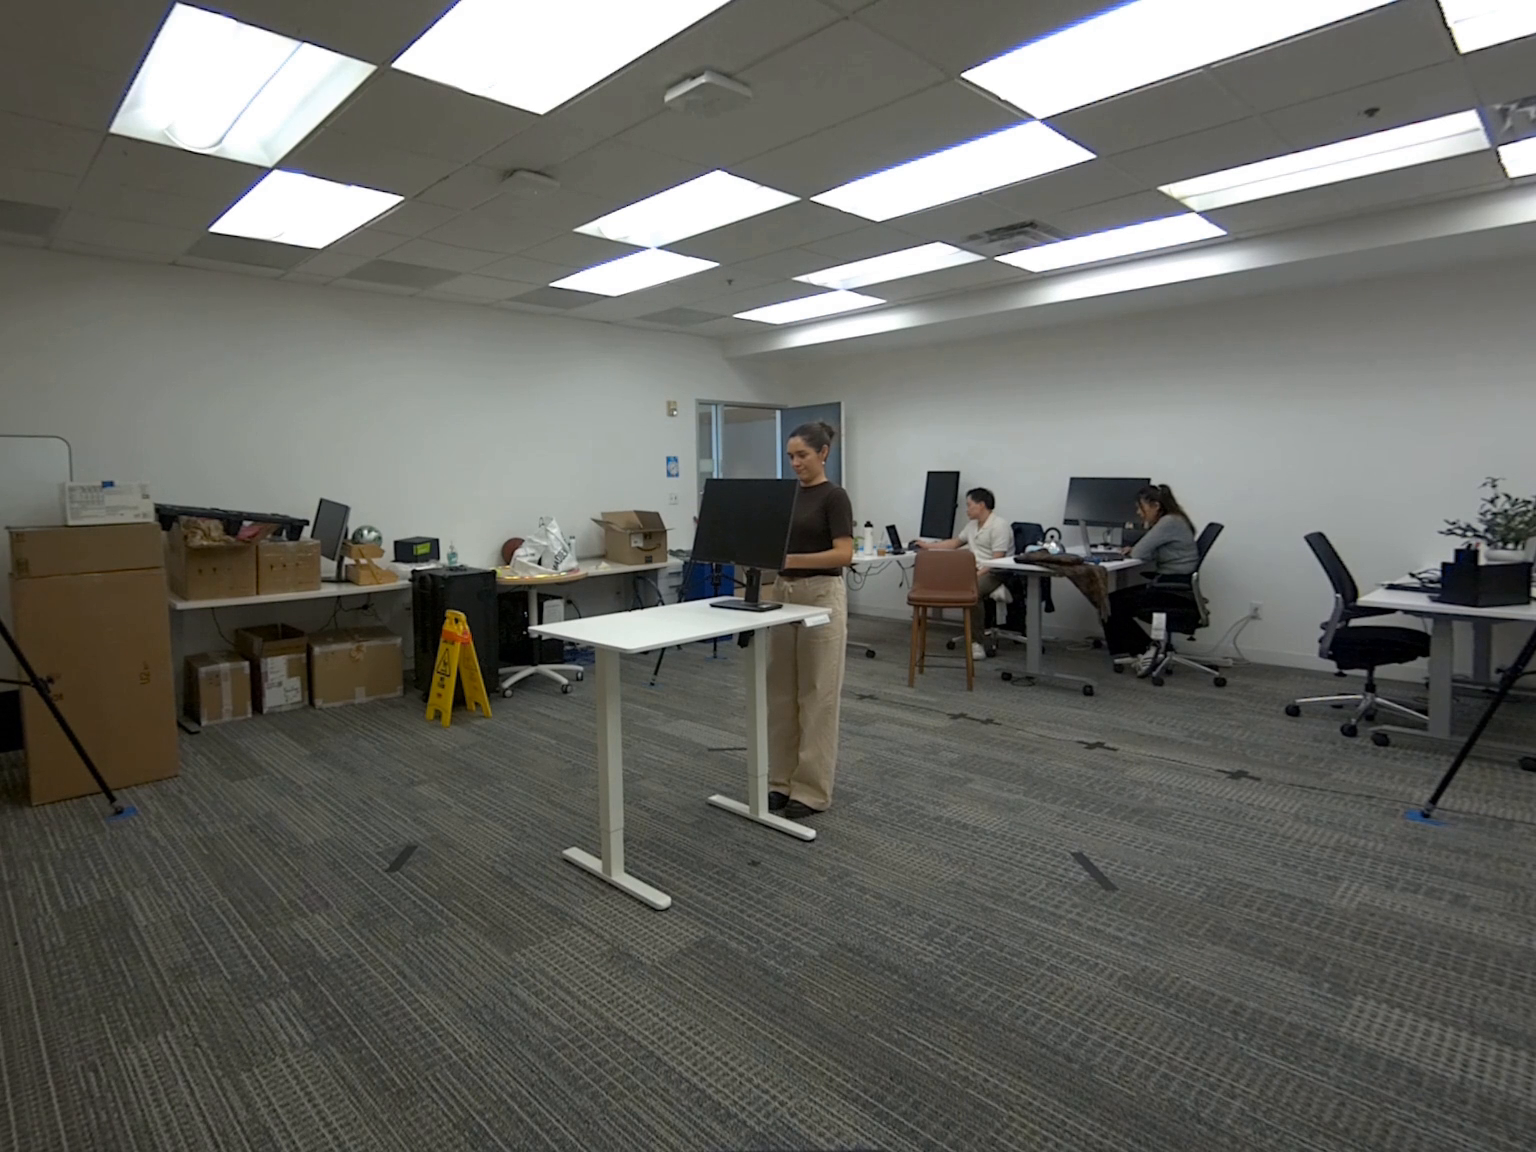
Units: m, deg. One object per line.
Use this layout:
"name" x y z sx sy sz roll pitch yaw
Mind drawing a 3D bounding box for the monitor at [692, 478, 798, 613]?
"monitor" -0.083 -0.128 3.416 0.556 0.521 0.182 5 5 45
